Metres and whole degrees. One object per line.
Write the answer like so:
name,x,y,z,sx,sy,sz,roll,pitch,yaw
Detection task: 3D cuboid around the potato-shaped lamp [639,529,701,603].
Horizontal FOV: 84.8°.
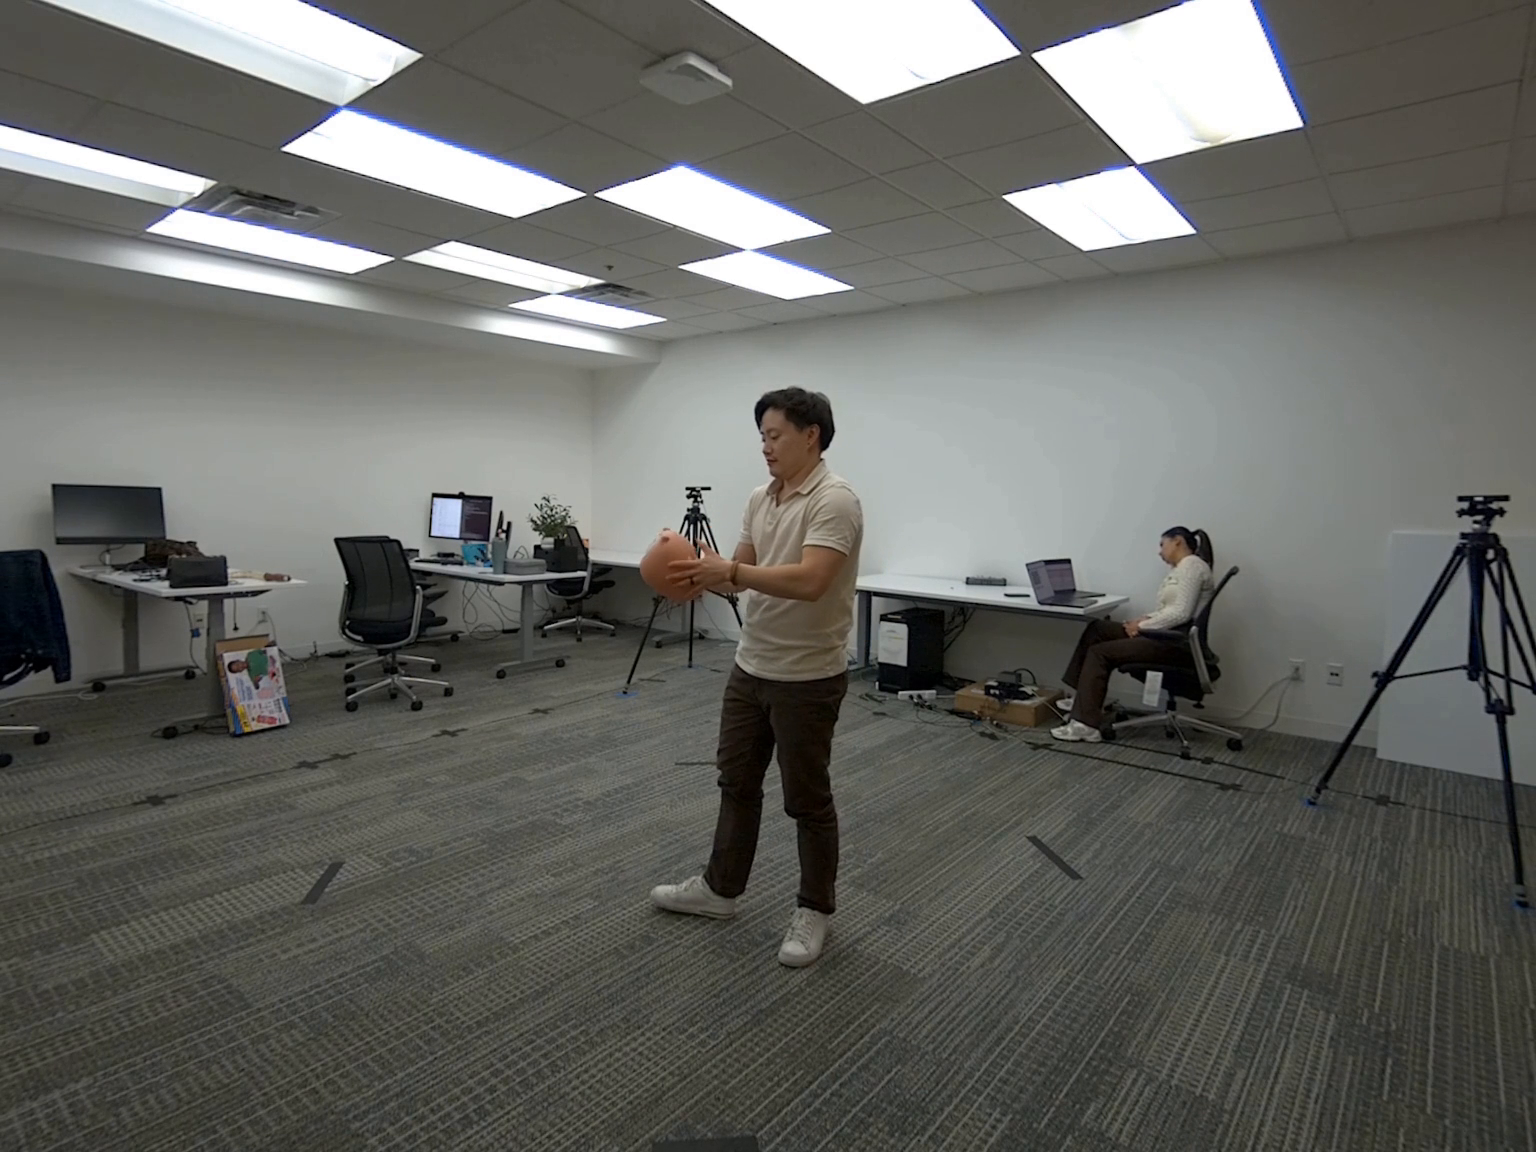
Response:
potato-shaped lamp,-0.272,-0.026,2.423,0.195,0.171,0.167,37,9,-11
